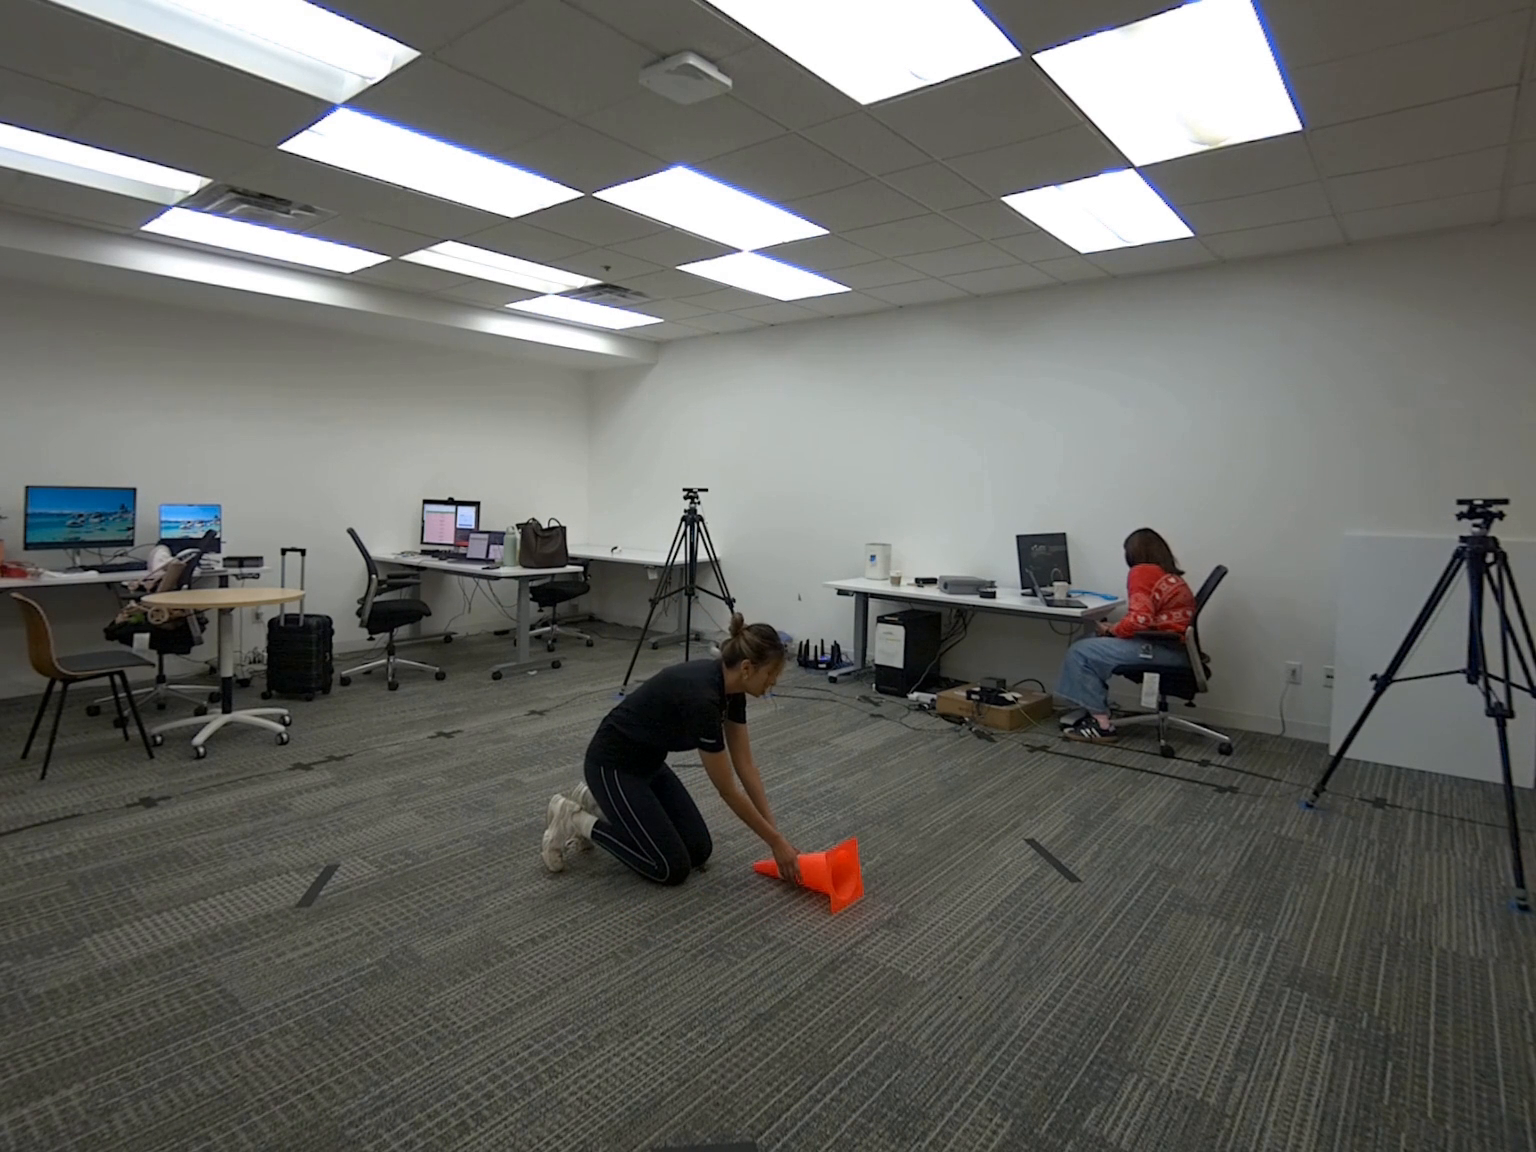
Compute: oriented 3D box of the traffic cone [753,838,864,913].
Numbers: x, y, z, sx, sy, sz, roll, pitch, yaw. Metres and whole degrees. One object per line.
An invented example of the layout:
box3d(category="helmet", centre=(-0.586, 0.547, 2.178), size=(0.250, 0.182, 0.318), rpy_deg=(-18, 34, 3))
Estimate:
box3d(category="traffic cone", centre=(0.097, 1.027, 2.992), size=(0.394, 0.204, 0.199), rpy_deg=(-9, -4, 38))
